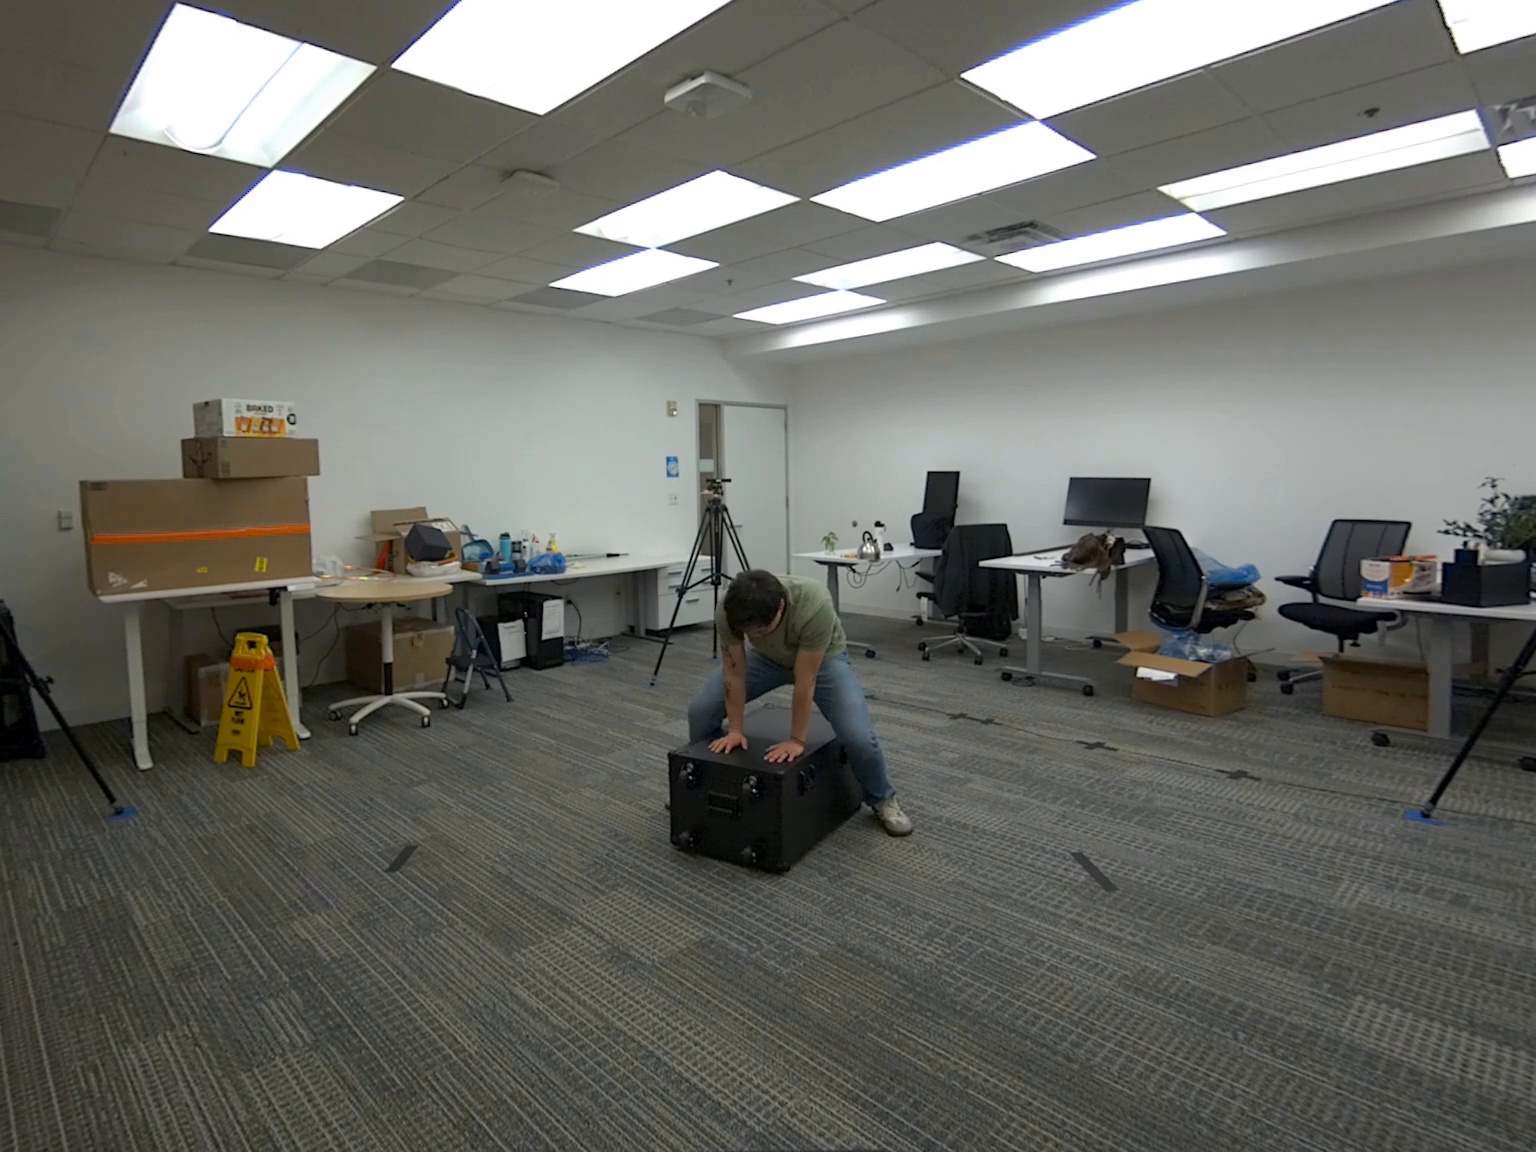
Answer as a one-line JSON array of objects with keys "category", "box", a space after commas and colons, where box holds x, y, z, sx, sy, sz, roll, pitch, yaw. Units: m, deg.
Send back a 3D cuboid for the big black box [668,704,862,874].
[{"category": "big black box", "box": [0.001, 0.822, 3.399, 0.535, 0.395, 0.842, 2, 5, 29]}]
